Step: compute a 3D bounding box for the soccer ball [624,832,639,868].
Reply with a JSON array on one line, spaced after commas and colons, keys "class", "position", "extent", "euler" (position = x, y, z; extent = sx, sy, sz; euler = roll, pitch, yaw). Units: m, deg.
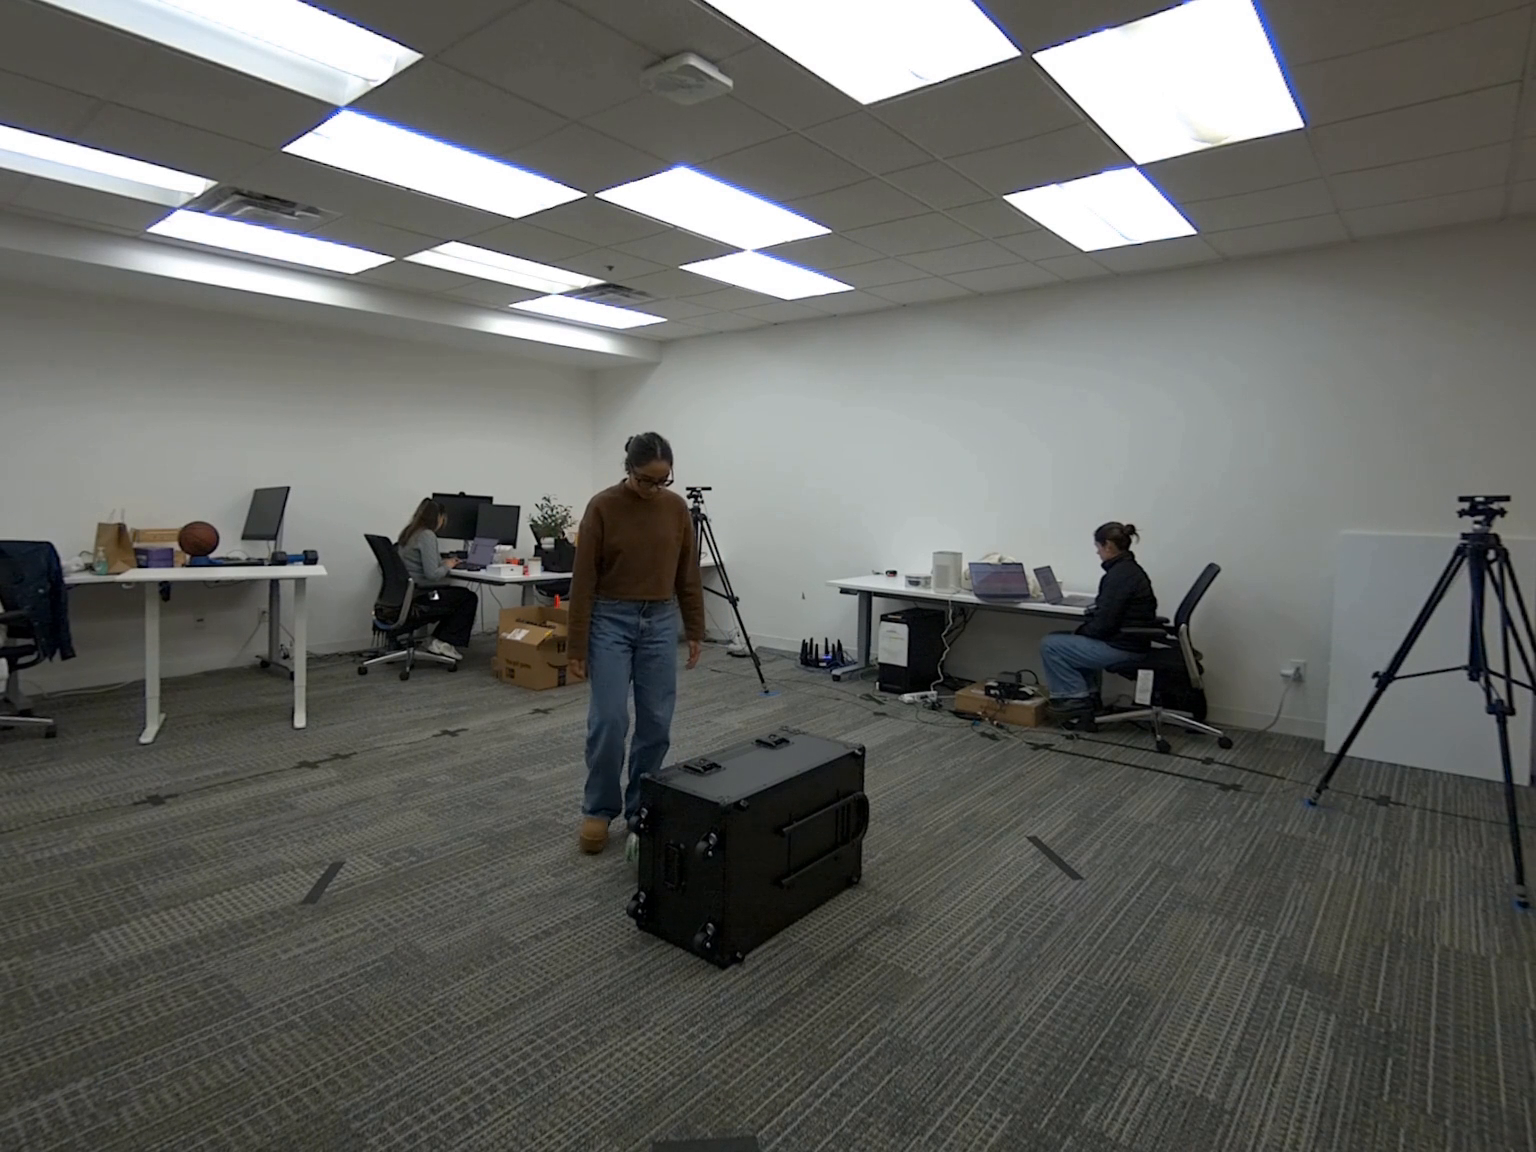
[{"class": "soccer ball", "position": [-0.411, 0.965, 3.035], "extent": [0.187, 0.187, 0.188], "euler": [1, 4, -2]}]
